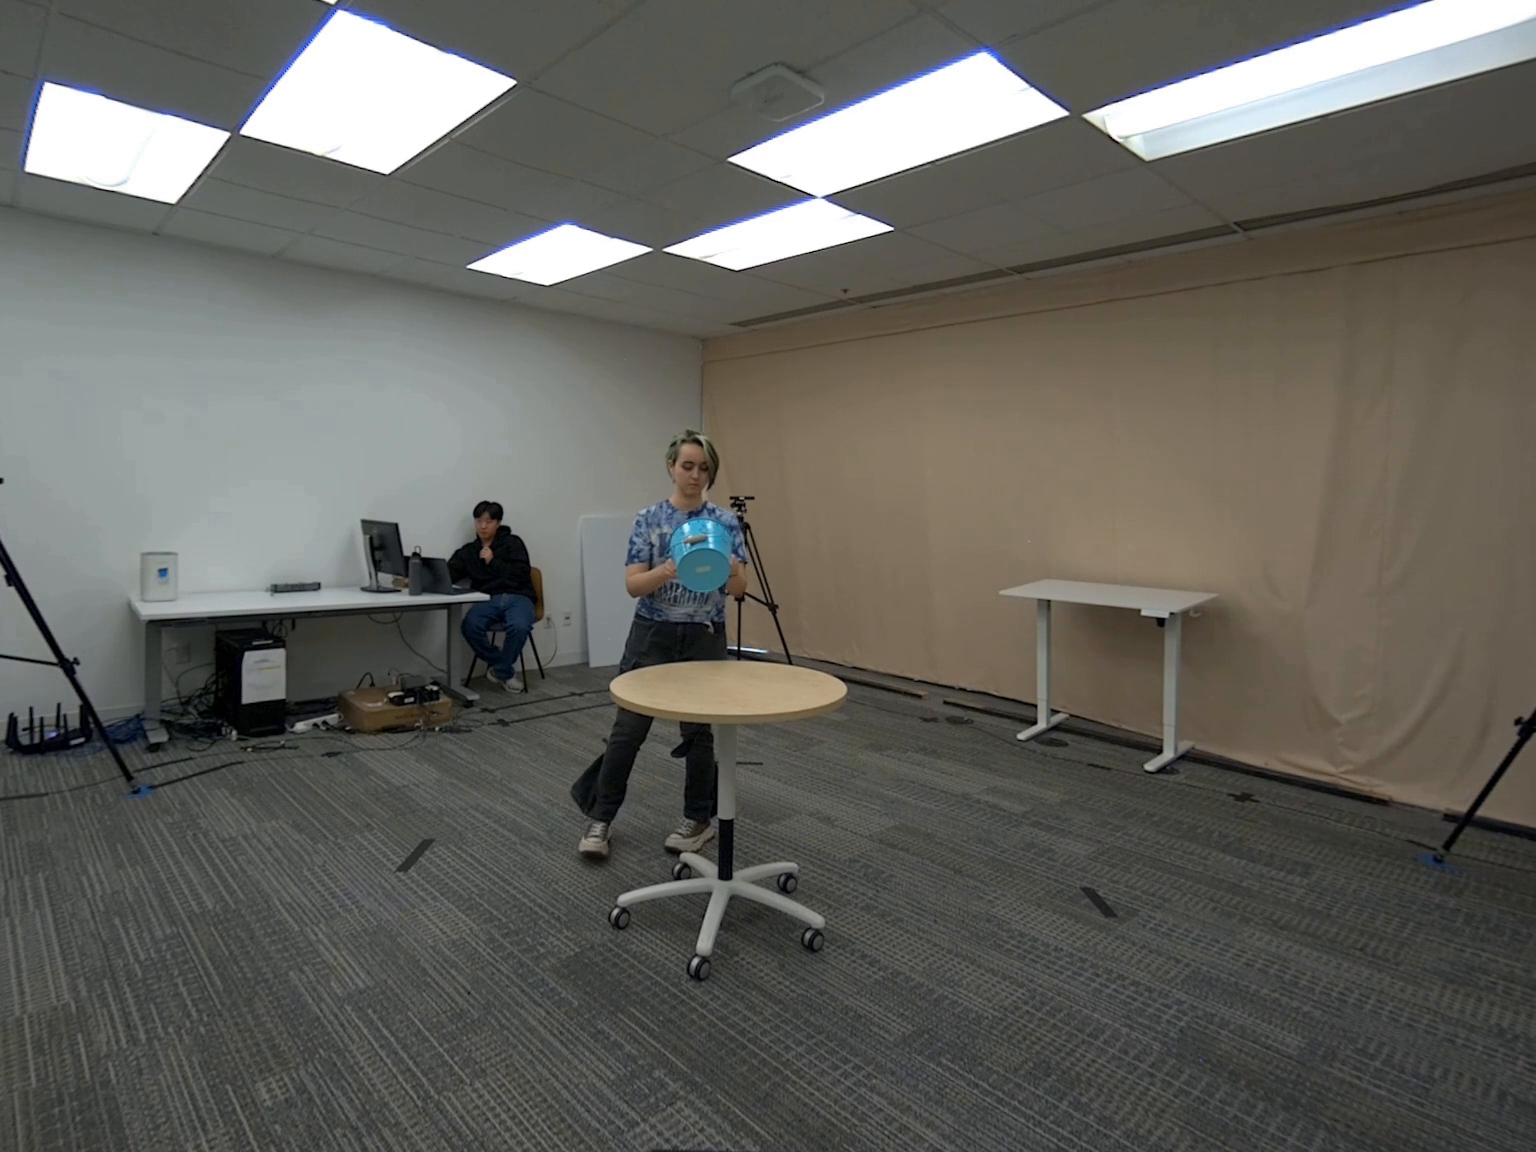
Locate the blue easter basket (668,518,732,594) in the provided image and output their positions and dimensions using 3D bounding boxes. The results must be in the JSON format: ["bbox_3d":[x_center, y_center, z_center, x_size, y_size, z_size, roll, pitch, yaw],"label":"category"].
[{"bbox_3d":[-0.254,-0.064,2.887,0.242,0.239,0.159,1,32,-7],"label":"blue easter basket"}]
